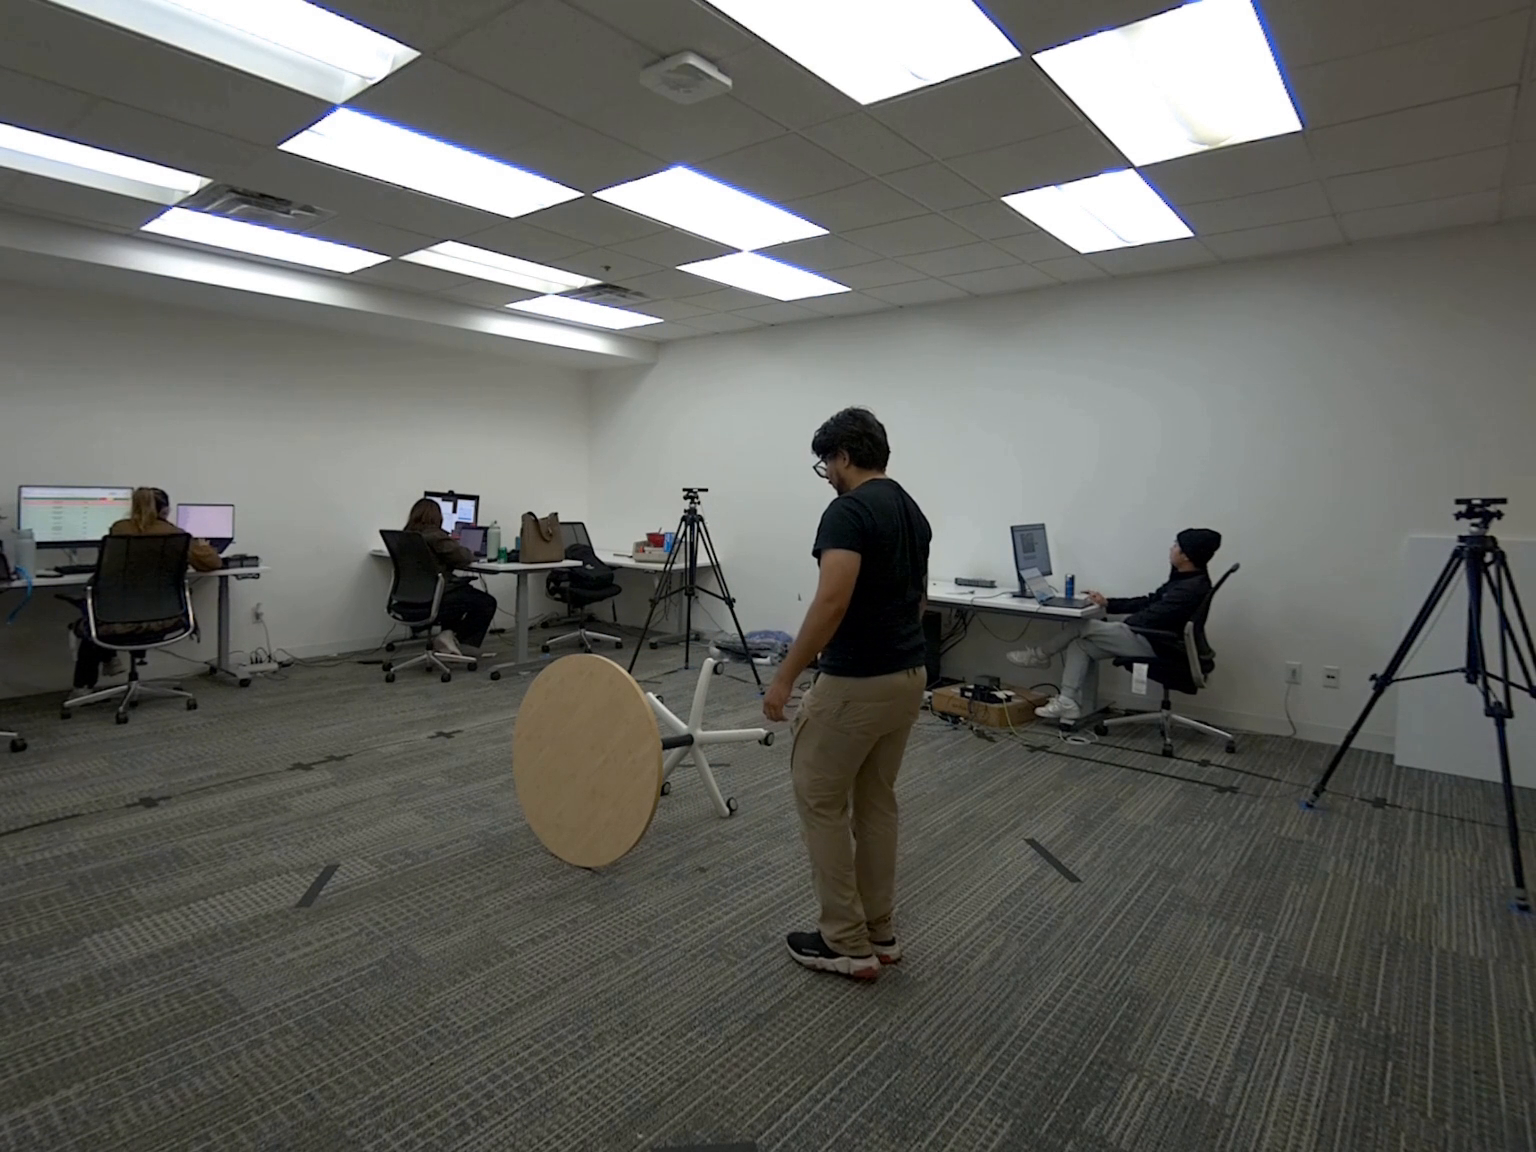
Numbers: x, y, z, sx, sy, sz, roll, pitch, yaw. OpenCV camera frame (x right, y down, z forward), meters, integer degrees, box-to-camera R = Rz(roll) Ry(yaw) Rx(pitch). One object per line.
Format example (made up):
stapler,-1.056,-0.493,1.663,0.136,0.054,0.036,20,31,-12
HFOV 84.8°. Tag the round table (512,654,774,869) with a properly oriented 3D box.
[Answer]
round table,-0.498,0.681,3.473,0.810,0.786,0.761,4,-1,34
